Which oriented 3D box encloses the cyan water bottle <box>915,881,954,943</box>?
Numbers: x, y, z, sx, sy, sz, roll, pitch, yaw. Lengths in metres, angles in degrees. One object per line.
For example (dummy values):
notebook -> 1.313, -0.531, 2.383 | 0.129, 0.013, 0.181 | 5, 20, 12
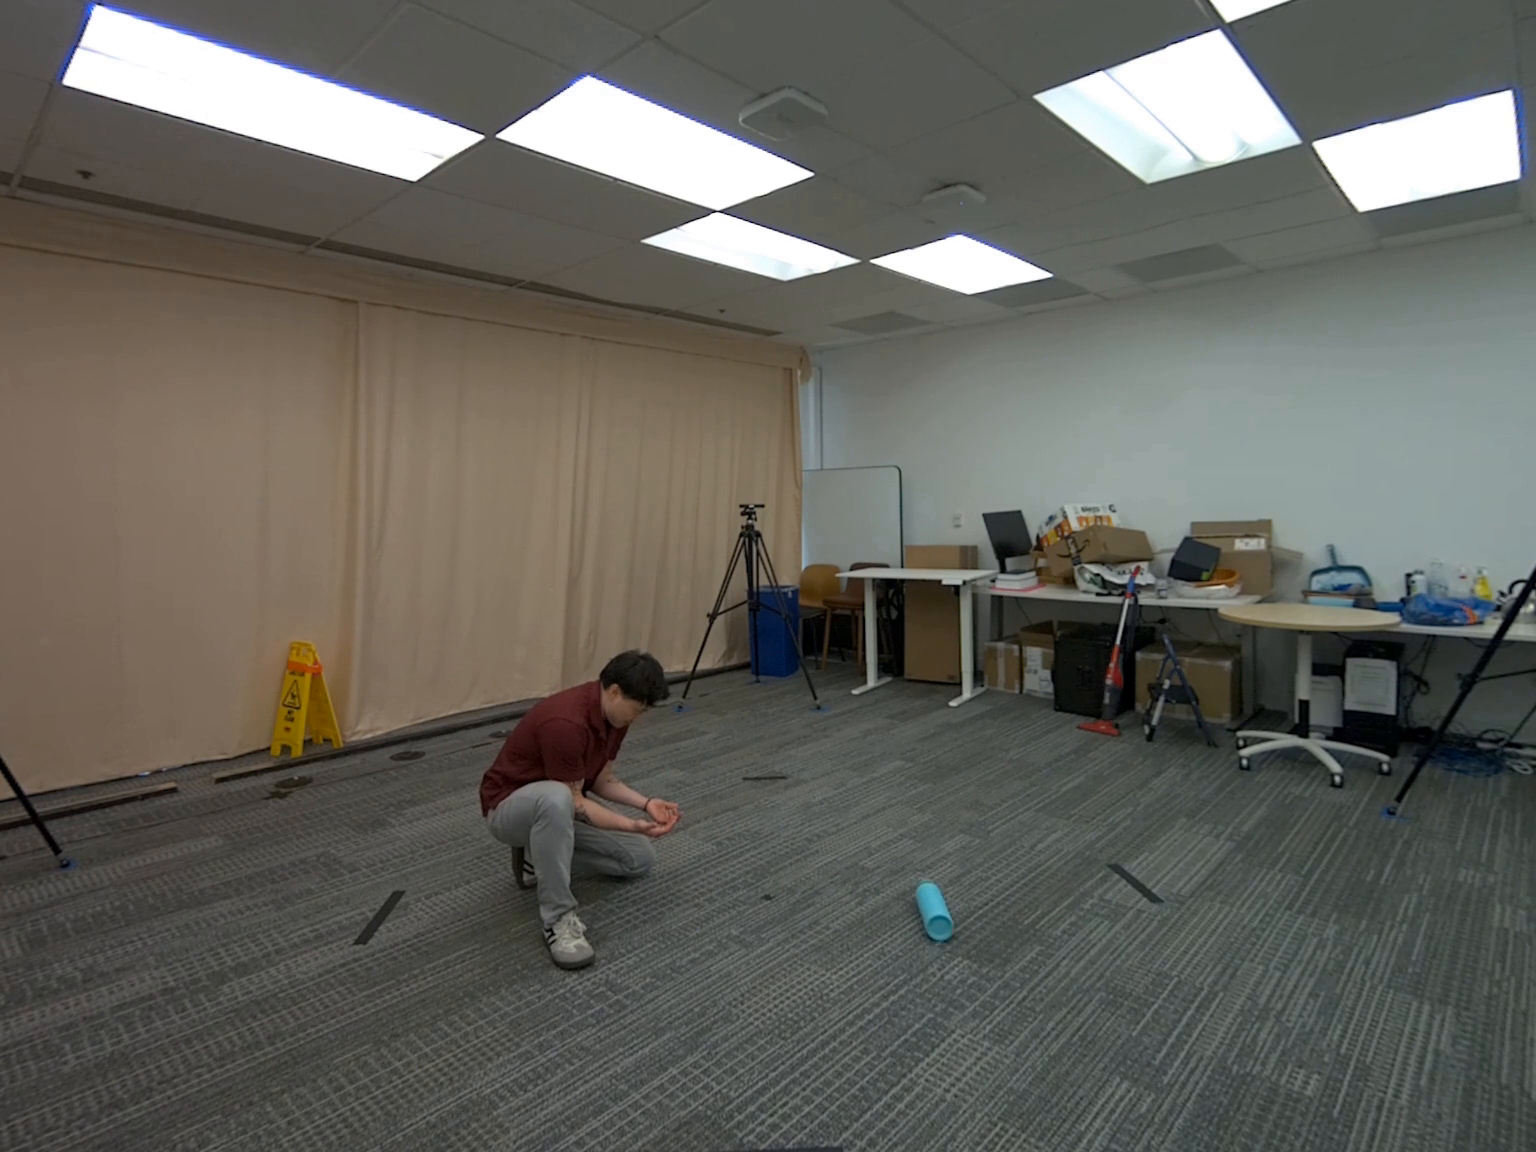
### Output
cyan water bottle -> 0.549, 1.102, 2.787 | 0.092, 0.092, 0.283 | -1, 5, 1
